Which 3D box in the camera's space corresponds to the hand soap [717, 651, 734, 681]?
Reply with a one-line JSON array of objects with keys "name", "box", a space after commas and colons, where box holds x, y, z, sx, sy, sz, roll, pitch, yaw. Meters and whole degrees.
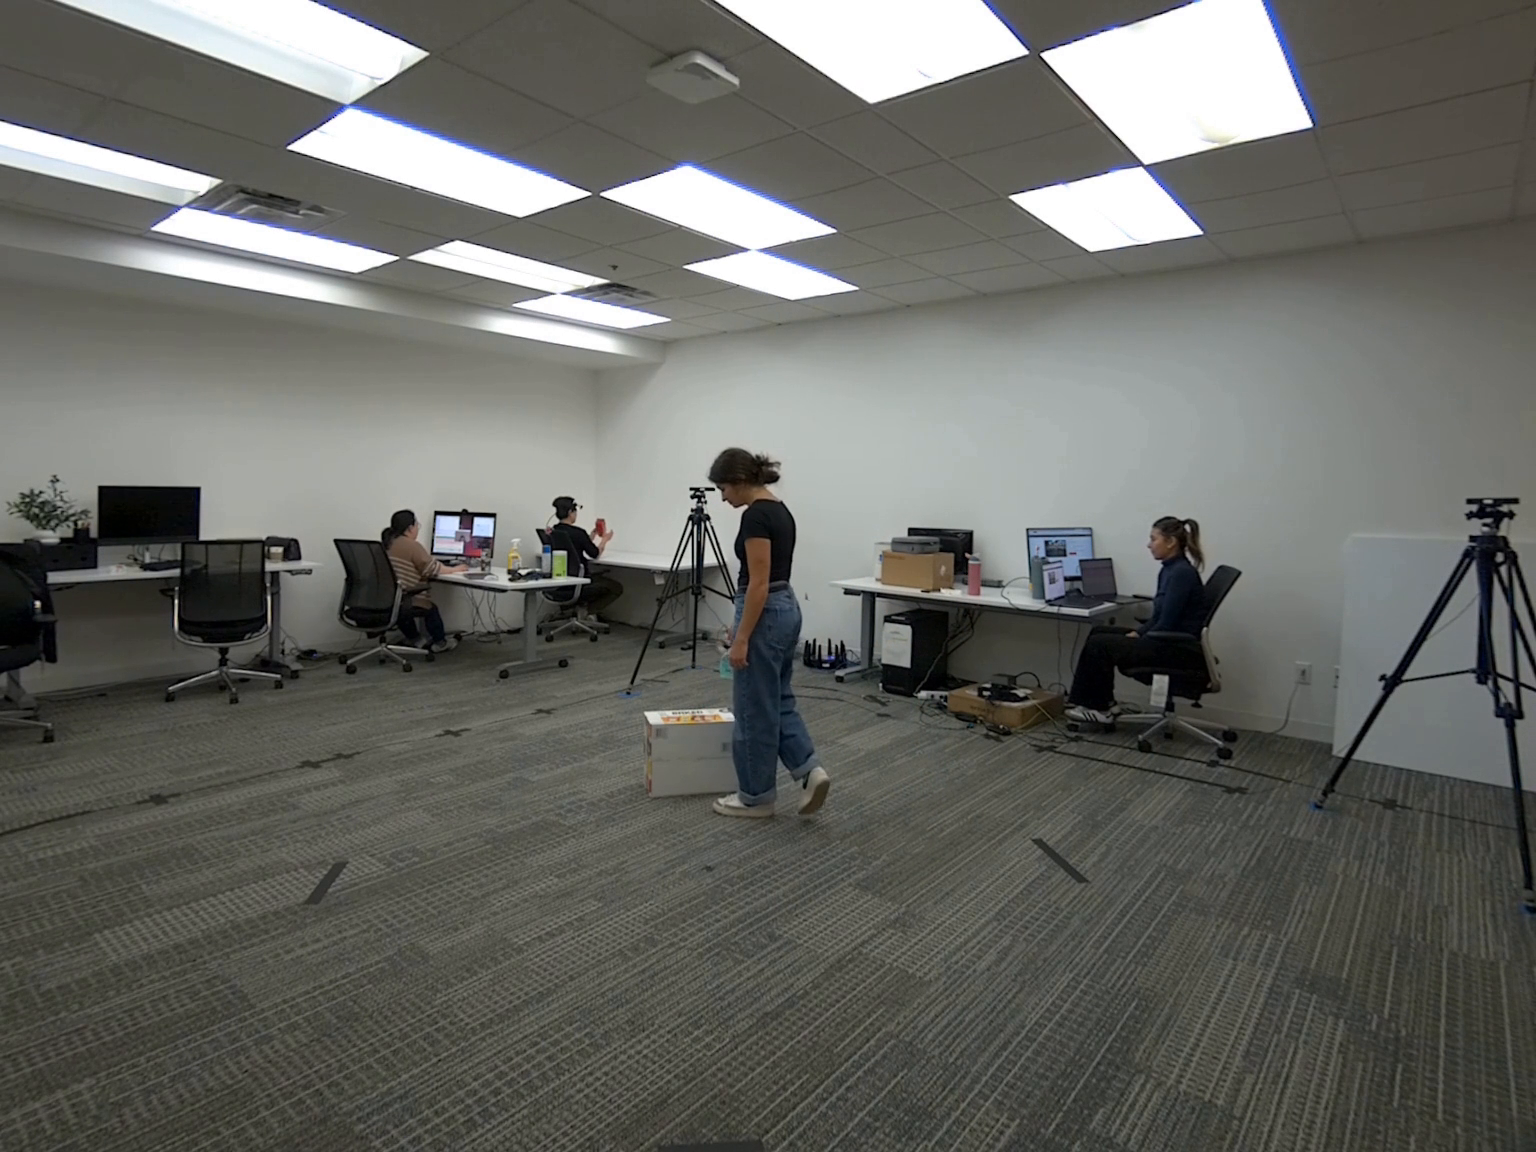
[{"name": "hand soap", "box": [-0.172, 0.371, 3.814, 0.084, 0.168, 0.044, 9, 3, -8]}]
